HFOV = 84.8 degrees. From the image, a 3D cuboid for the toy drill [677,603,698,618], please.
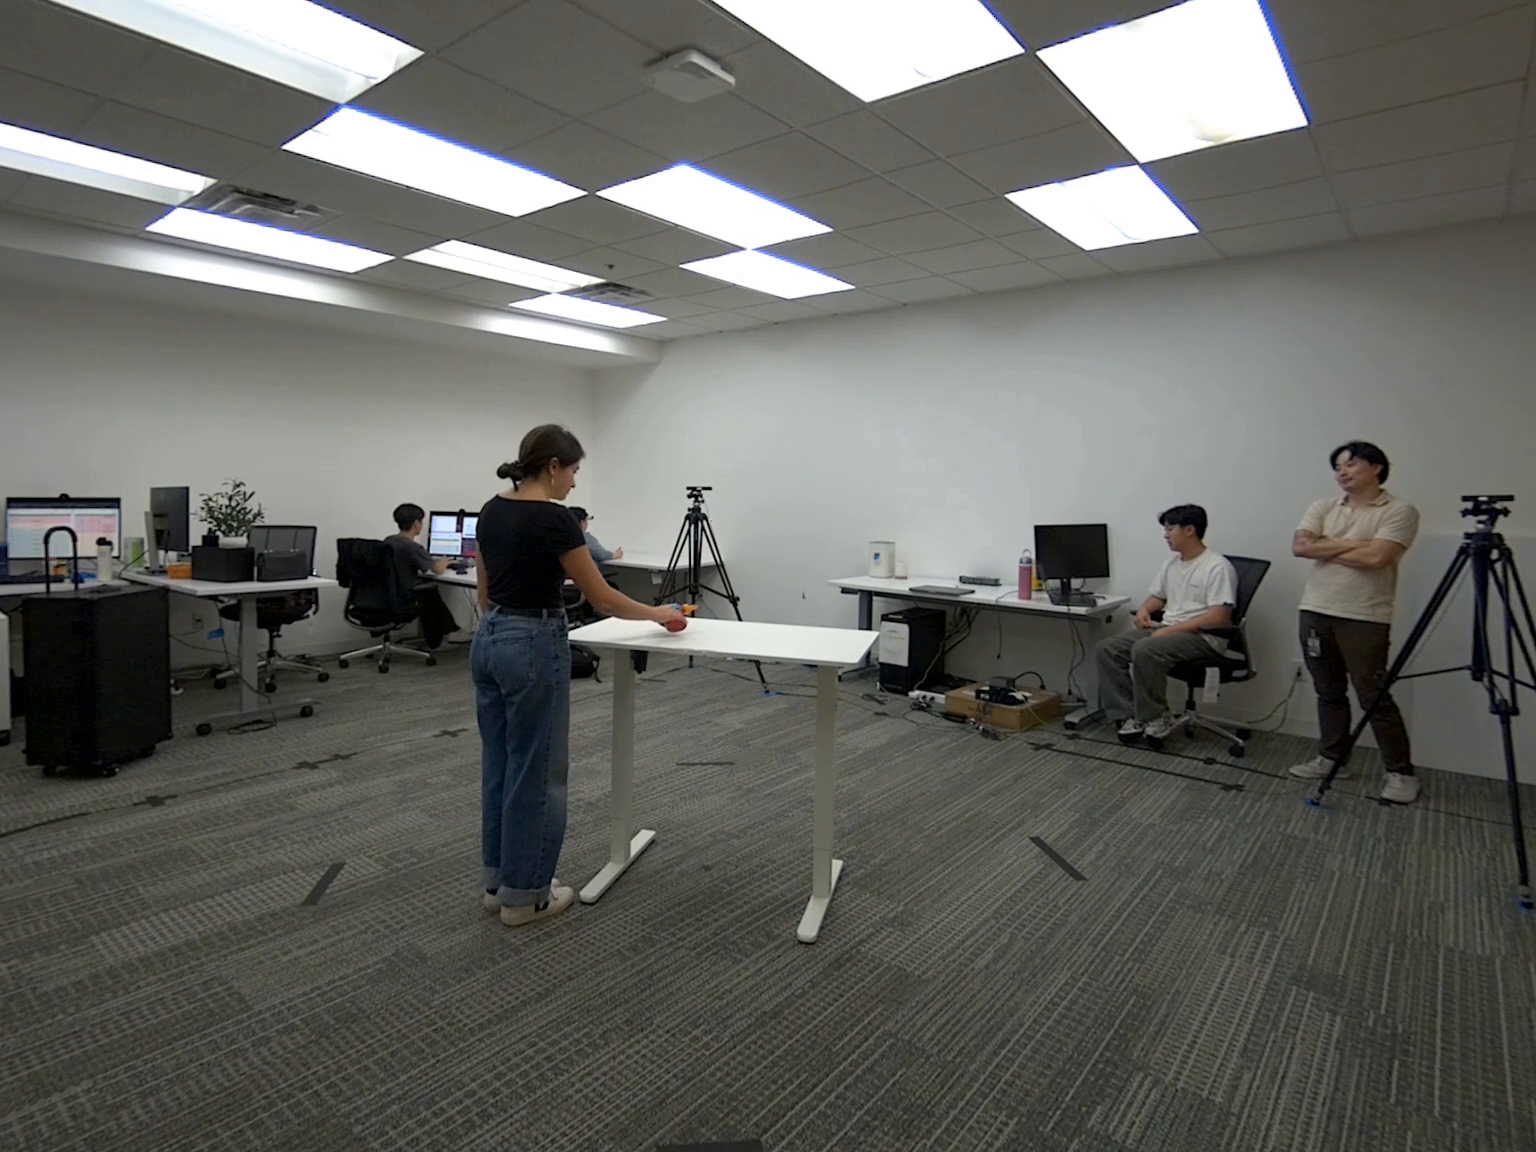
[{"bbox_3d":[-0.303,0.138,2.925,0.167,0.060,0.150,-13,14,-21],"label":"toy drill"}]
